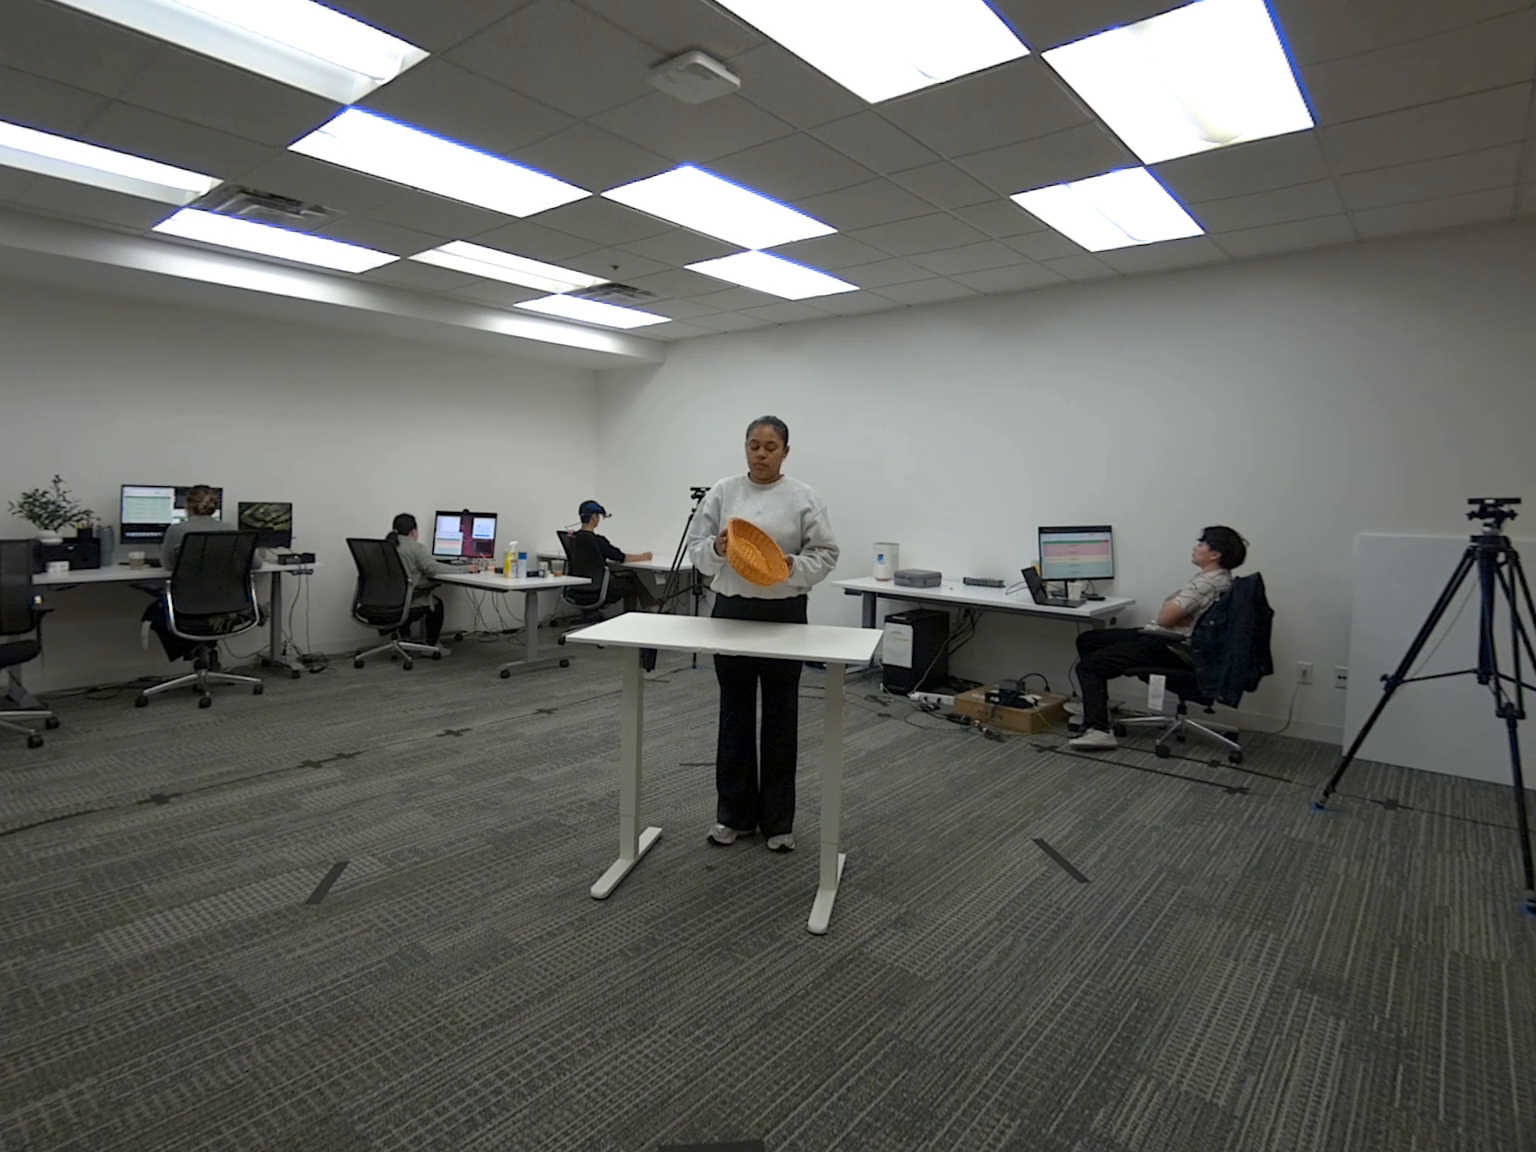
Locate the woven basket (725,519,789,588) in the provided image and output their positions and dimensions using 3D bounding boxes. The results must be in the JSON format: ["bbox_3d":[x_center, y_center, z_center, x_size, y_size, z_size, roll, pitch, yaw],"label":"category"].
[{"bbox_3d":[-0.053,-0.070,3.008,0.245,0.073,0.360,32,24,-22],"label":"woven basket"}]
